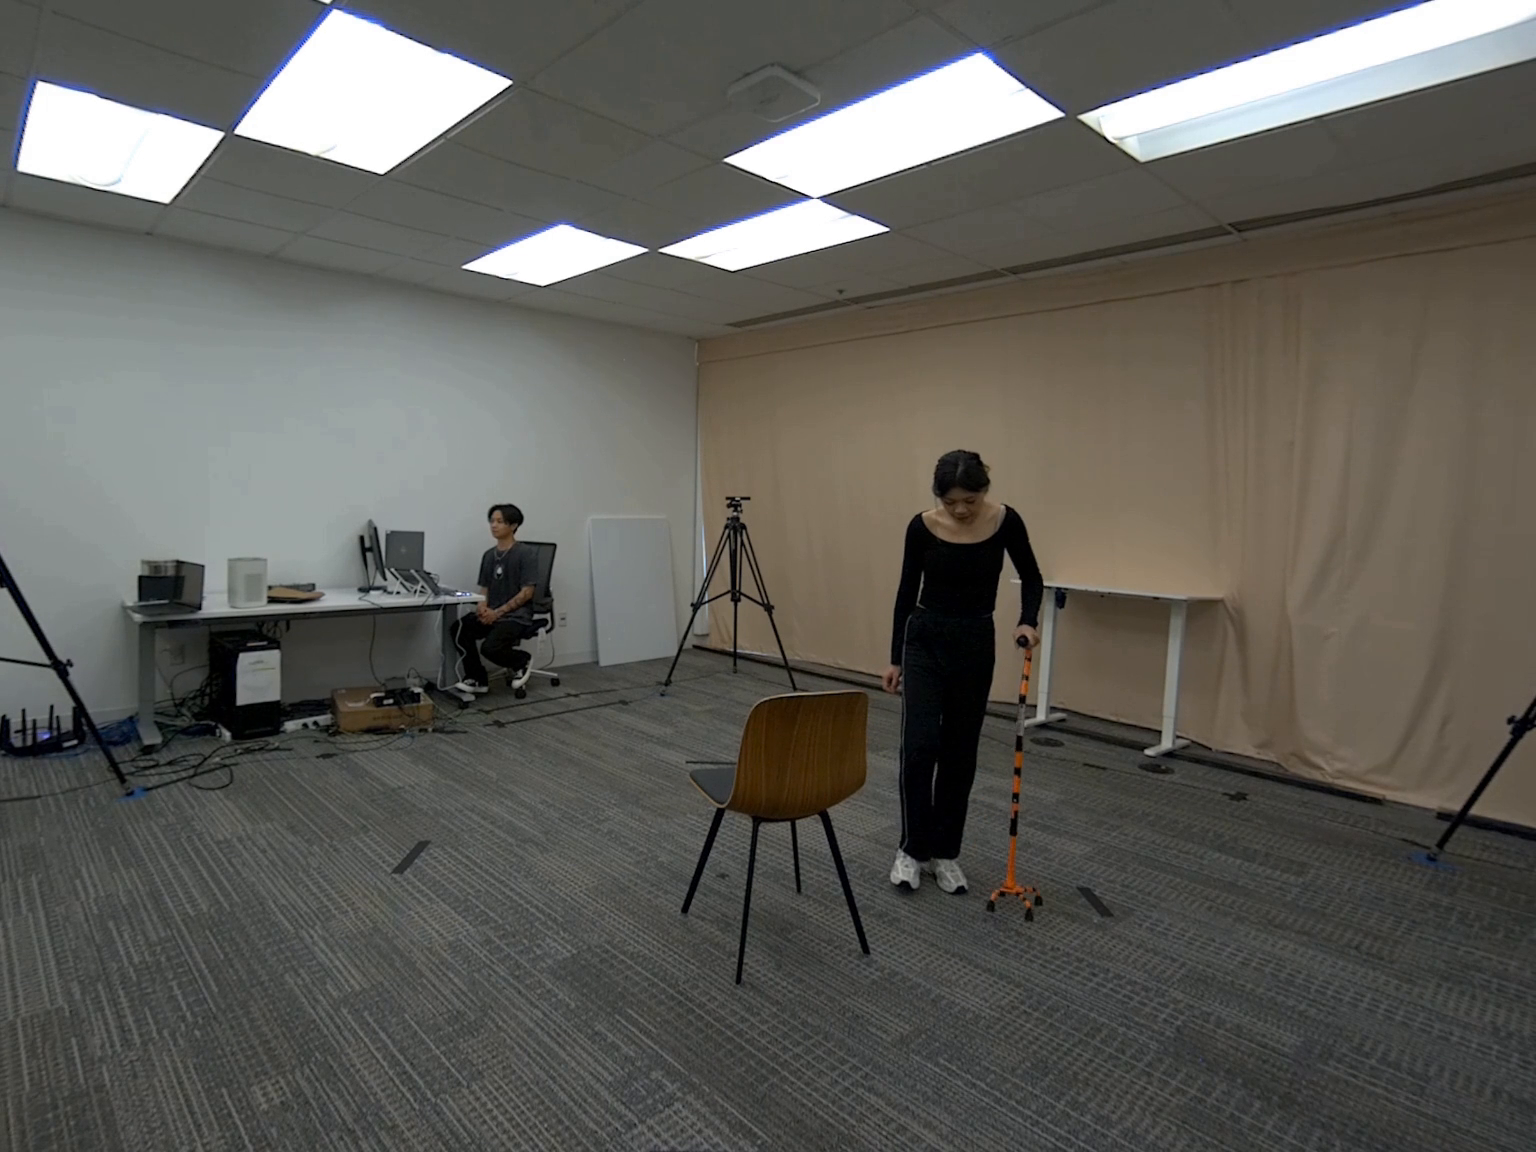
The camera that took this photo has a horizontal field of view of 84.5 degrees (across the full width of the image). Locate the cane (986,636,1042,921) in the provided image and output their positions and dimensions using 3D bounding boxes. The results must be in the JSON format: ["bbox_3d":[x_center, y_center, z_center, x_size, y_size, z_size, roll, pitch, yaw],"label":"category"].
[{"bbox_3d":[0.846,0.661,2.858,0.154,0.910,0.202,2,-4,25],"label":"cane"}]
